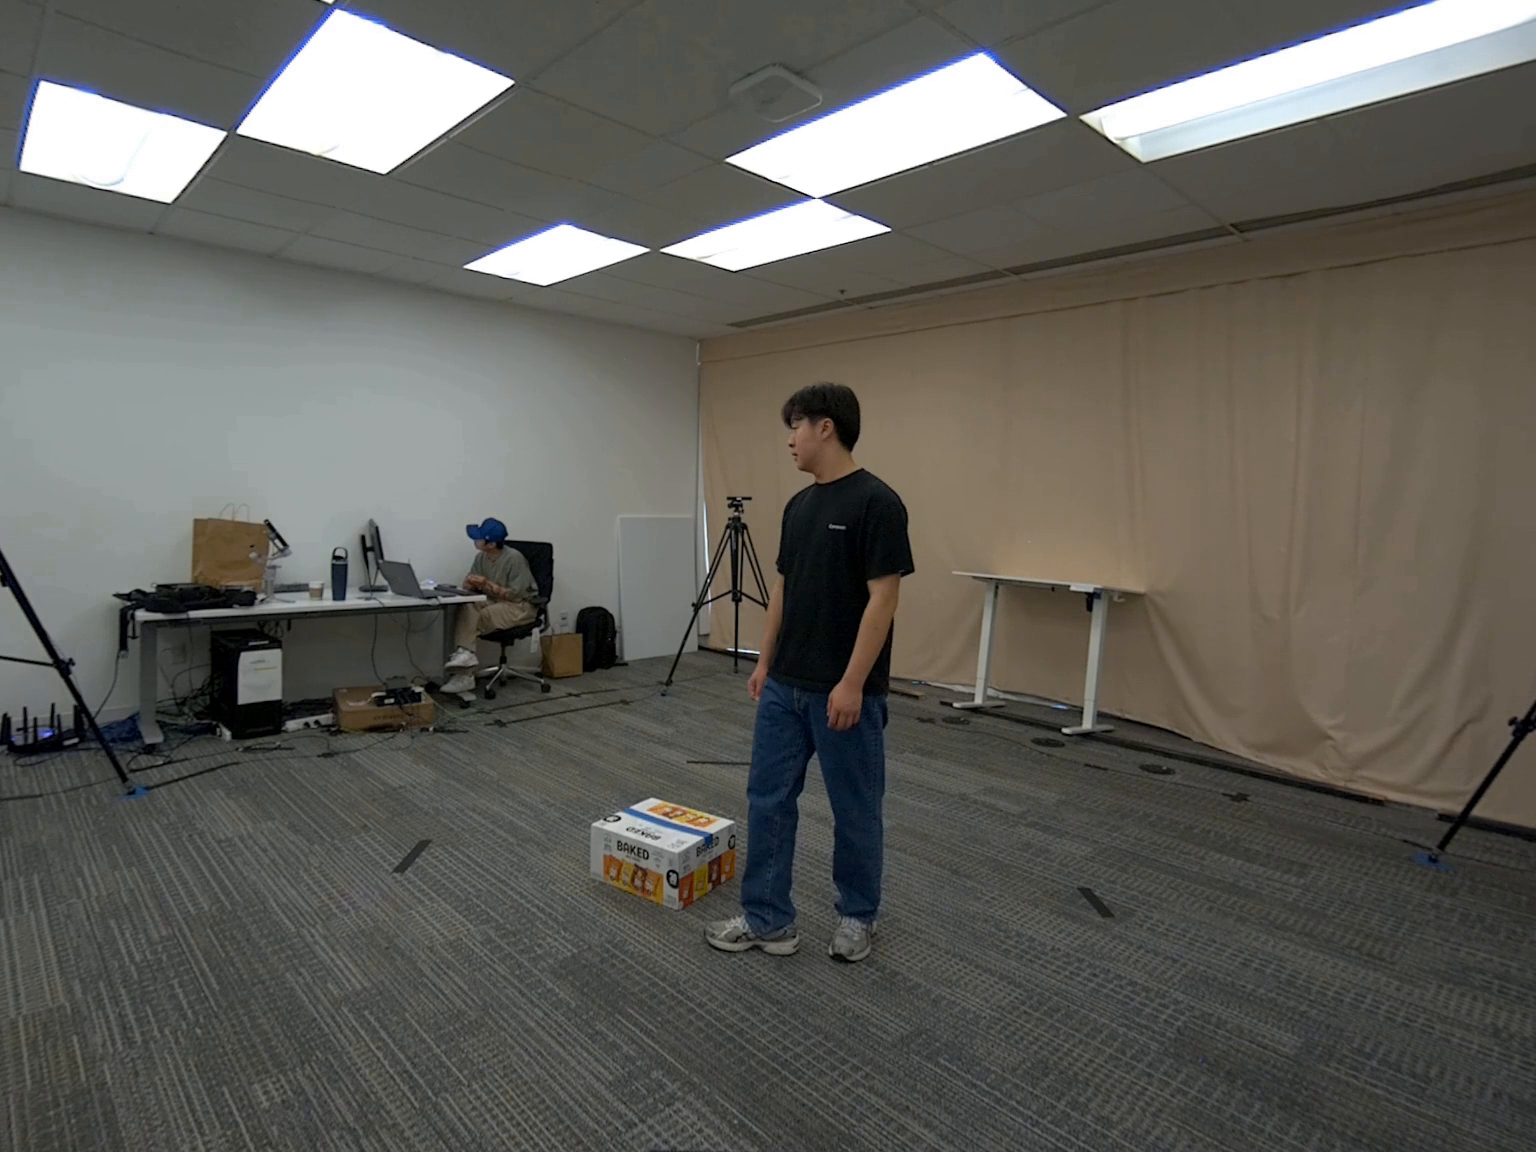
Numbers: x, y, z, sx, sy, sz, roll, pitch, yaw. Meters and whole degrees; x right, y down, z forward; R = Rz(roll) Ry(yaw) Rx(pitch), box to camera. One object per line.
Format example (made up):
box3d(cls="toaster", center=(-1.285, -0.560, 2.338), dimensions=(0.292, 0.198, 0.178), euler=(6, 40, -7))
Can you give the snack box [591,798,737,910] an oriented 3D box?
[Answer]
box3d(cls="snack box", center=(-0.386, 1.003, 3.072), dimensions=(0.415, 0.205, 0.333), euler=(5, 6, 33))
